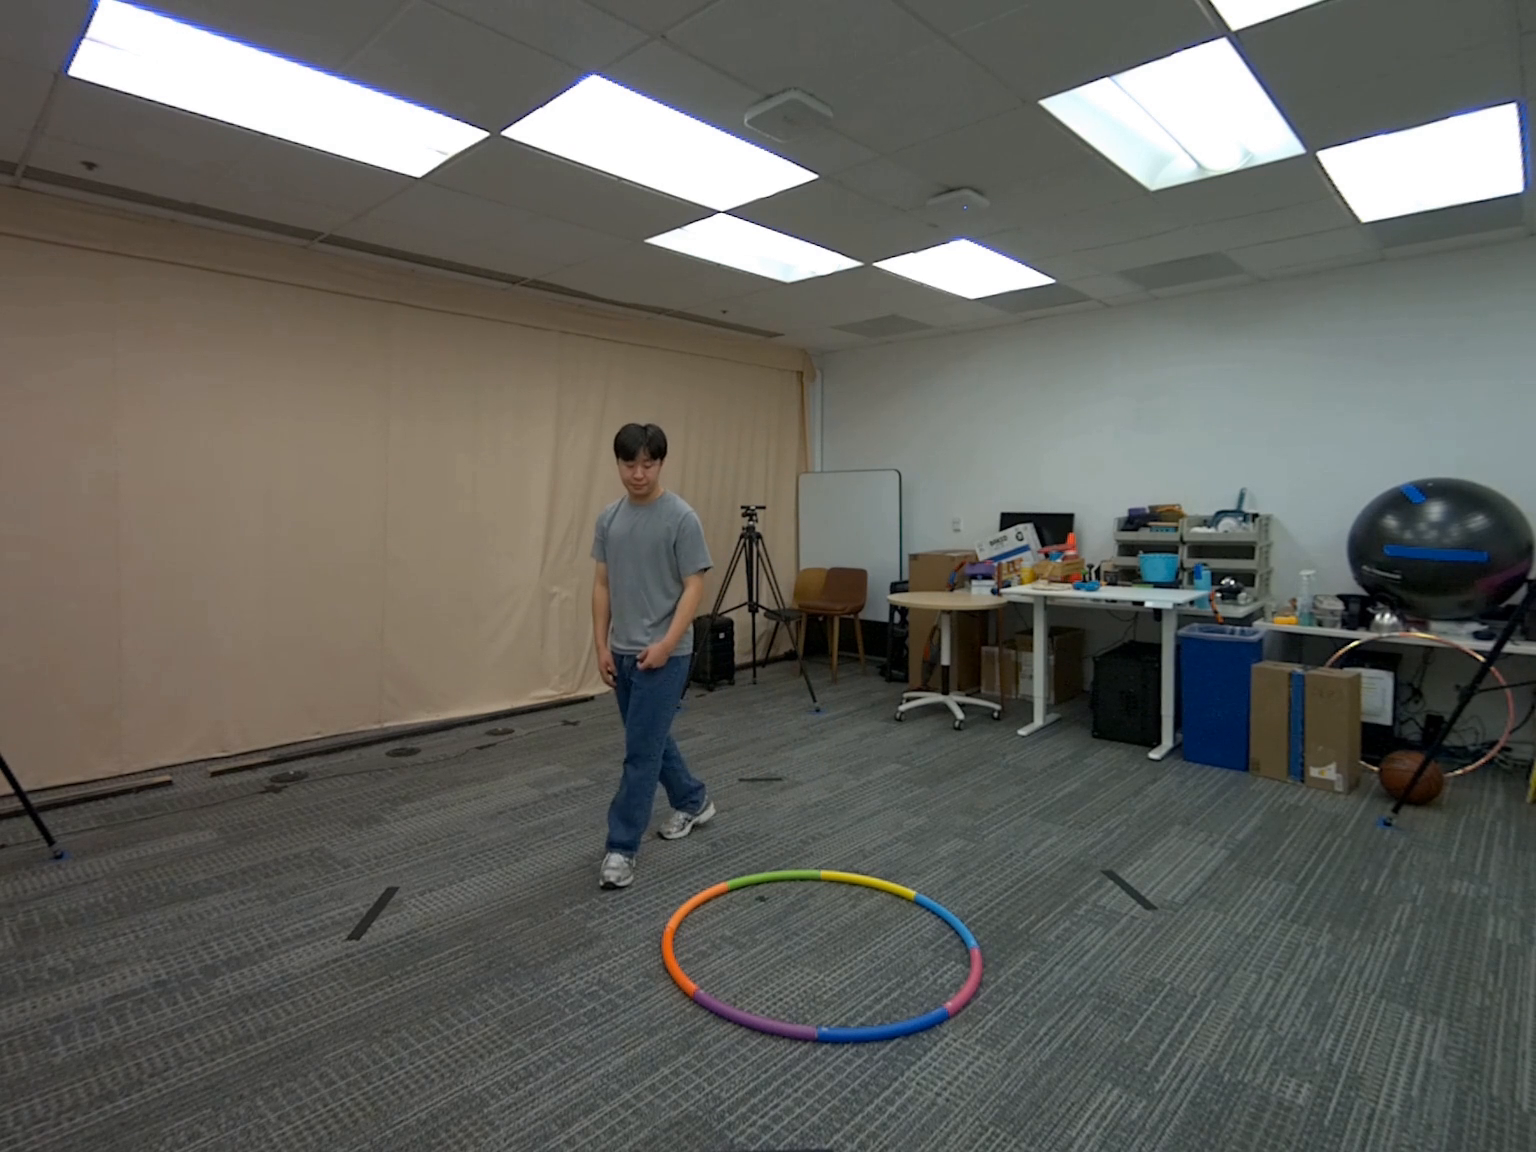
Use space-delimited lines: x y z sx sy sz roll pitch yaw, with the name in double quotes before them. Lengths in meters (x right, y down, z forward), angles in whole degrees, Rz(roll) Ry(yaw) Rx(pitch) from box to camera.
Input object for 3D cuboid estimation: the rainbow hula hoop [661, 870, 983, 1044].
"rainbow hula hoop" 0.165 1.140 2.667 0.978 0.035 0.982 0 5 -2
